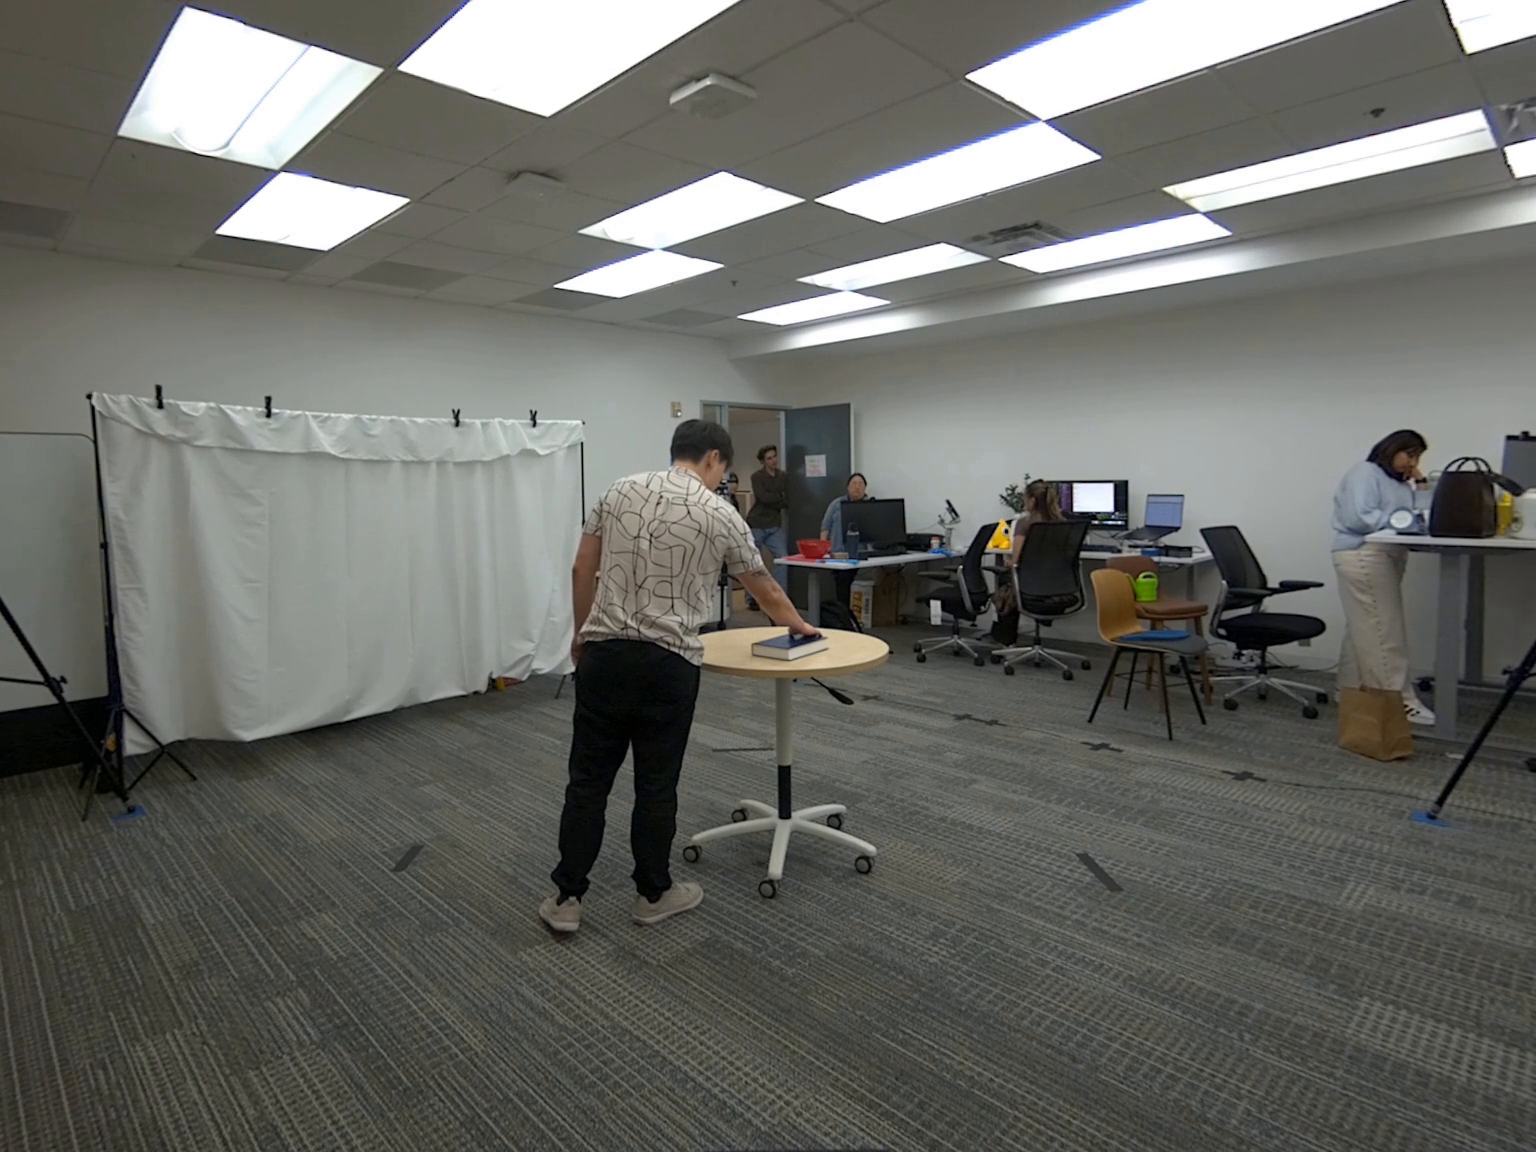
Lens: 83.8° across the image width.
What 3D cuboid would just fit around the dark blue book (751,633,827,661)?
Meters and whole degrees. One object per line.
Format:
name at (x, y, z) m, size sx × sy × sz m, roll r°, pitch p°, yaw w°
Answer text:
dark blue book at (0.085, 0.250, 3.016) m, size 0.168 × 0.045 × 0.239 m, roll 4°, pitch 8°, yaw 37°
